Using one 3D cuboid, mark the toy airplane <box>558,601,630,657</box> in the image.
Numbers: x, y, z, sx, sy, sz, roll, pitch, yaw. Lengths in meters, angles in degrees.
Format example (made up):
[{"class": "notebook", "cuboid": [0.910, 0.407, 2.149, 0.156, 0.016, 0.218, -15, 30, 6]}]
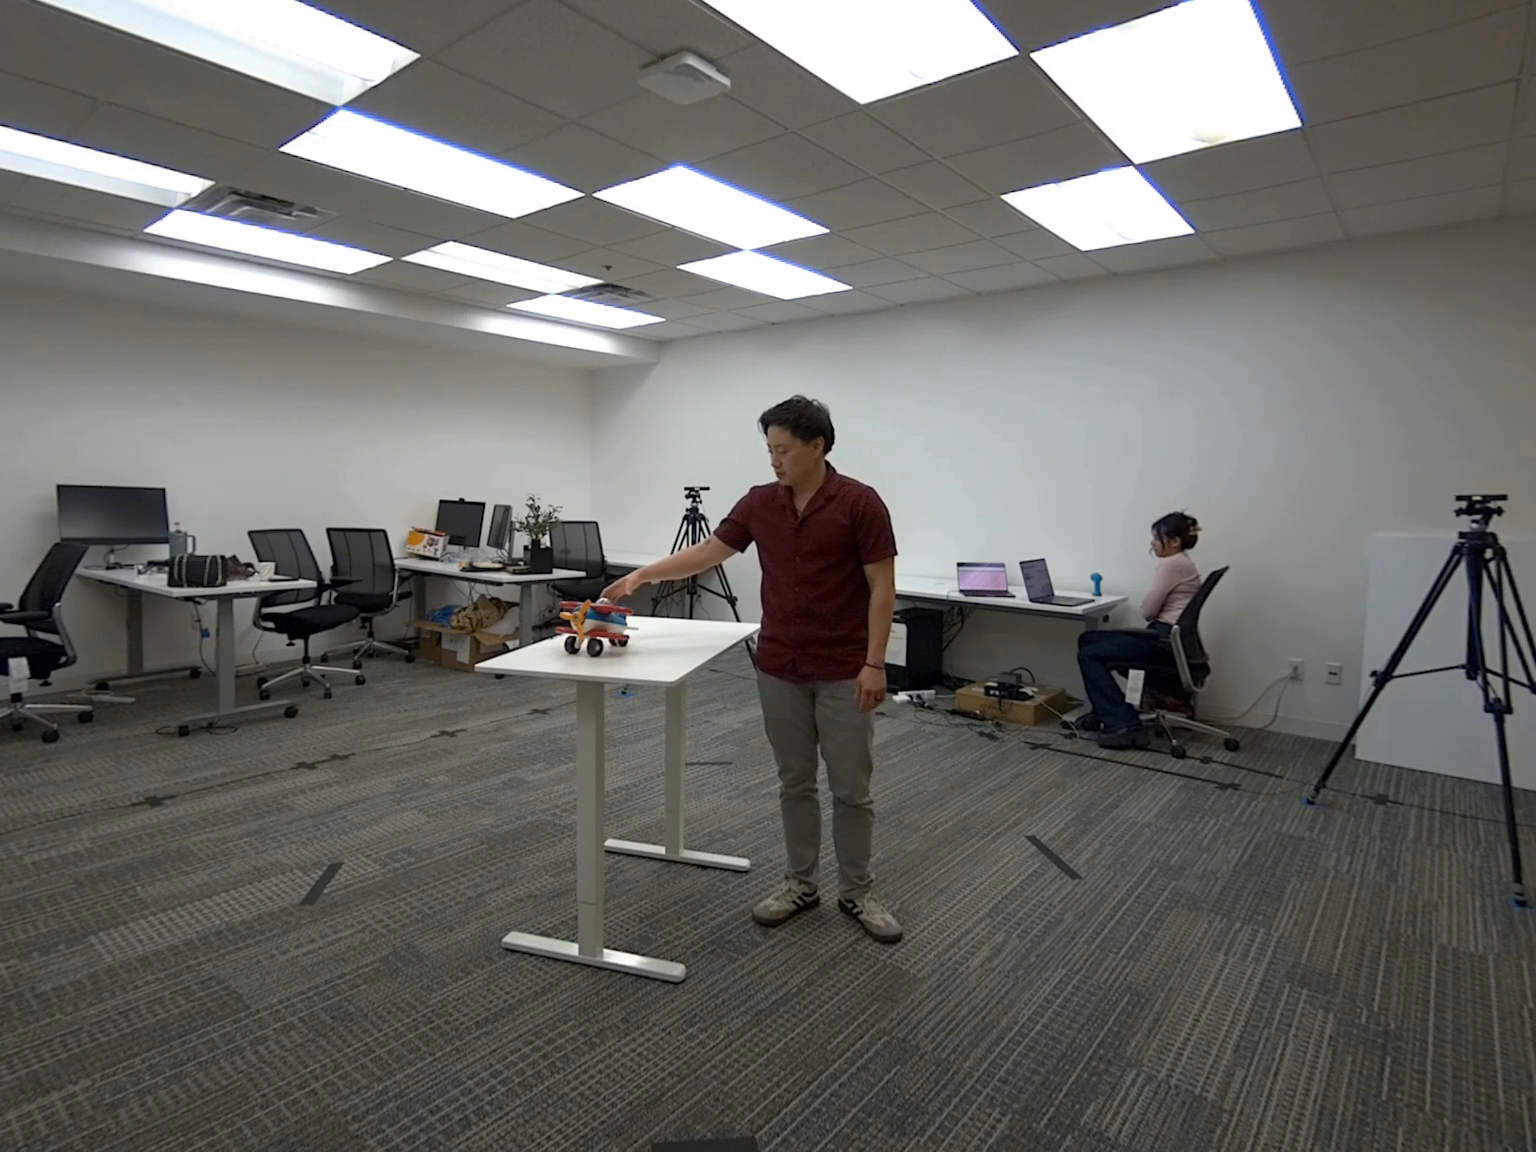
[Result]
[{"class": "toy airplane", "cuboid": [-0.546, 0.153, 2.645, 0.251, 0.156, 0.260, -1, 5, -1]}]
